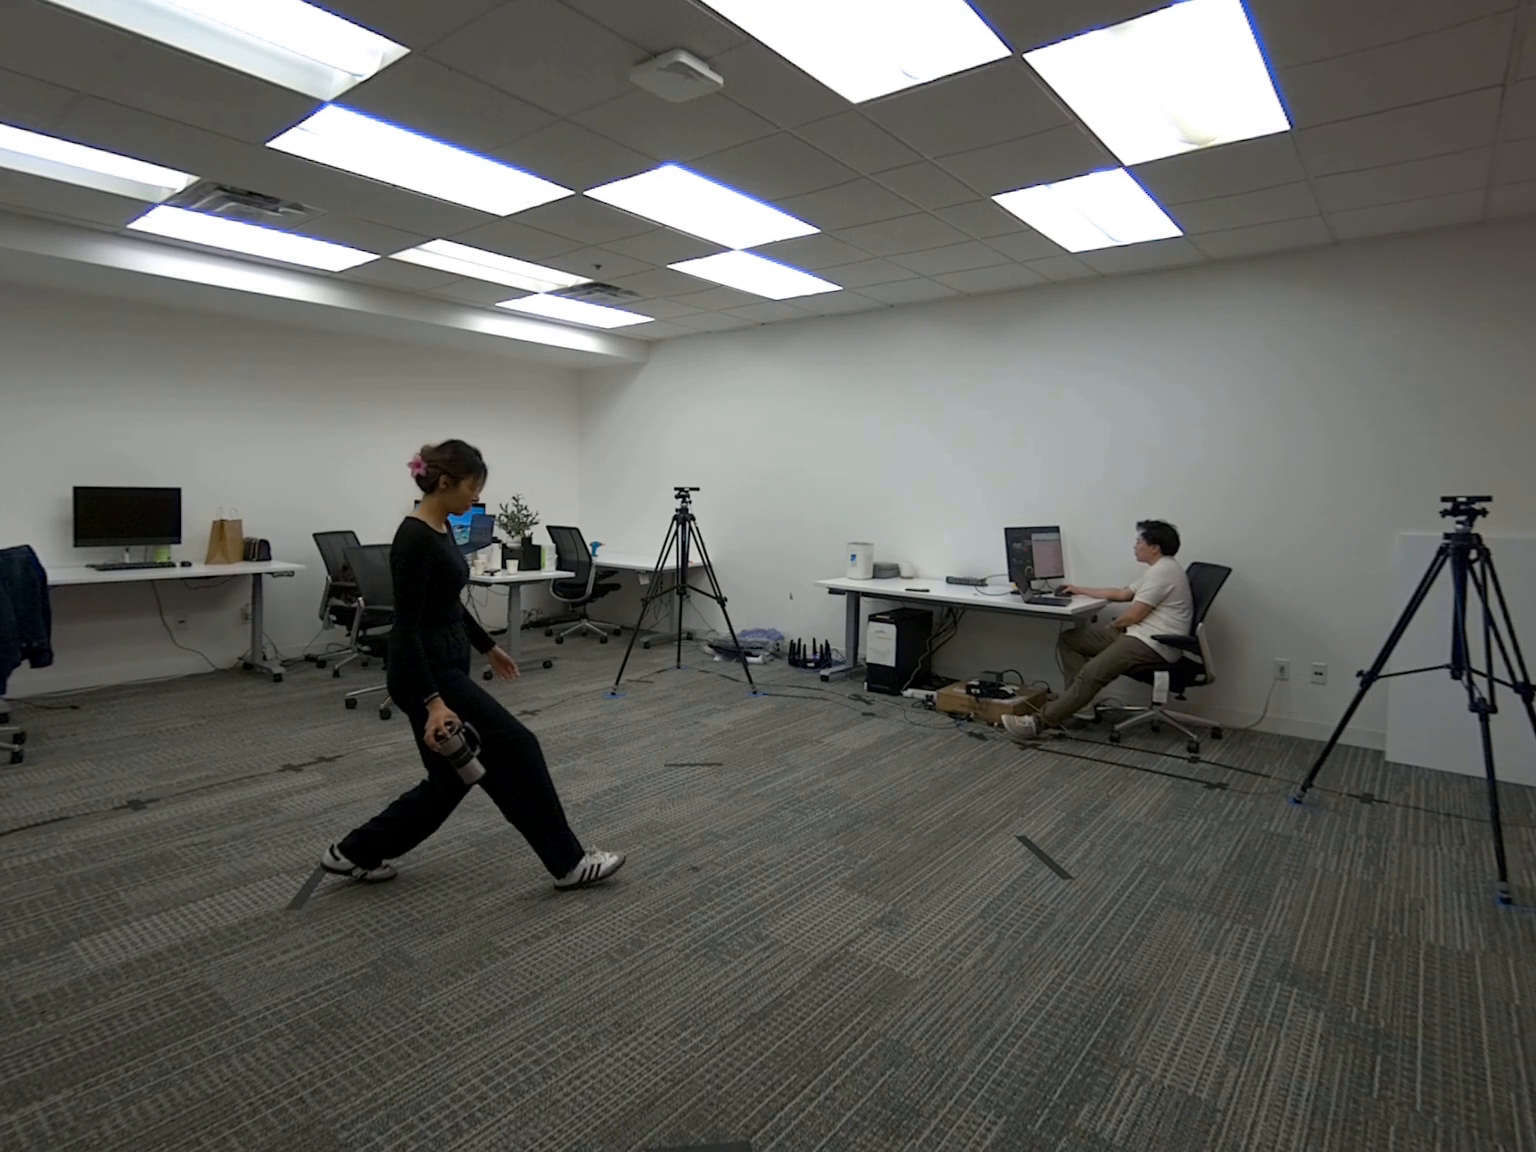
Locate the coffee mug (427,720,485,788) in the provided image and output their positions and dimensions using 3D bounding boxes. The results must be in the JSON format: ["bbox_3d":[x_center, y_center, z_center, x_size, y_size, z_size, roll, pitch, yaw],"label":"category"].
[{"bbox_3d":[-0.951,0.545,2.596,0.123,0.198,0.089,-23,20,20],"label":"coffee mug"}]
